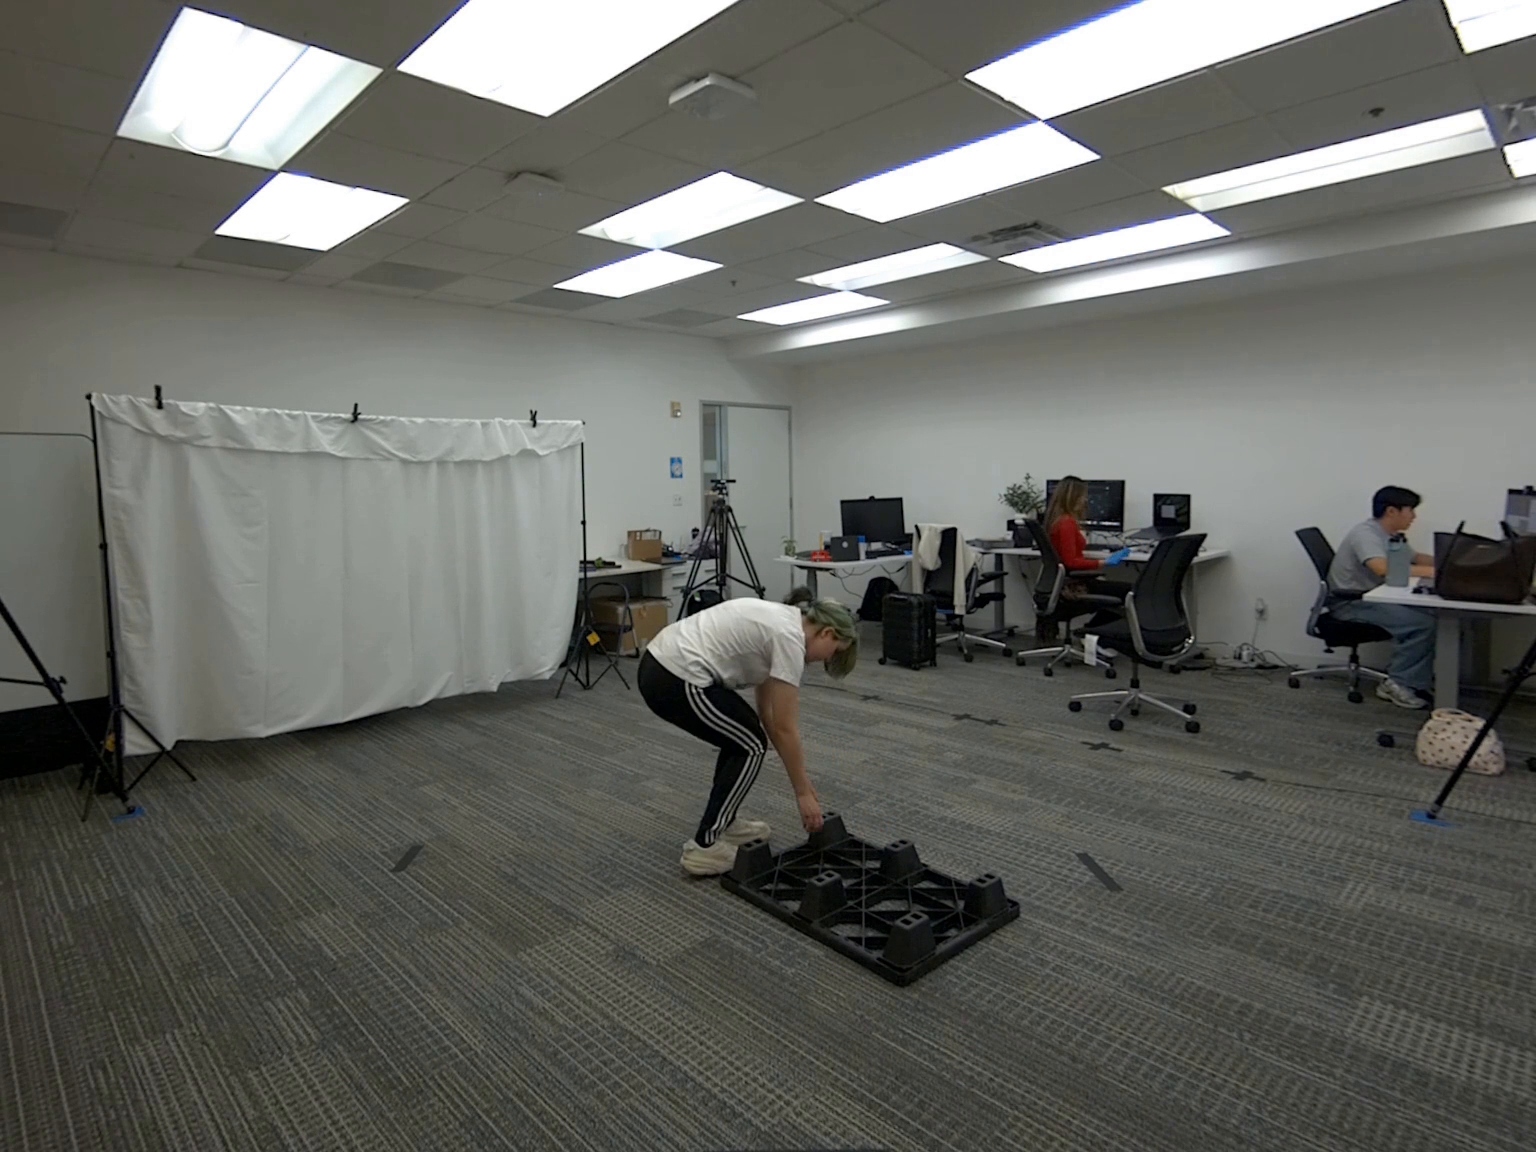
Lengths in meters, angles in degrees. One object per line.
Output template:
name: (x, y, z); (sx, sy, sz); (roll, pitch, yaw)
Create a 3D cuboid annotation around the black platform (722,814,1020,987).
black platform: (0.311, 1.008, 2.823); (0.589, 0.143, 0.830); (-6, 7, -41)
